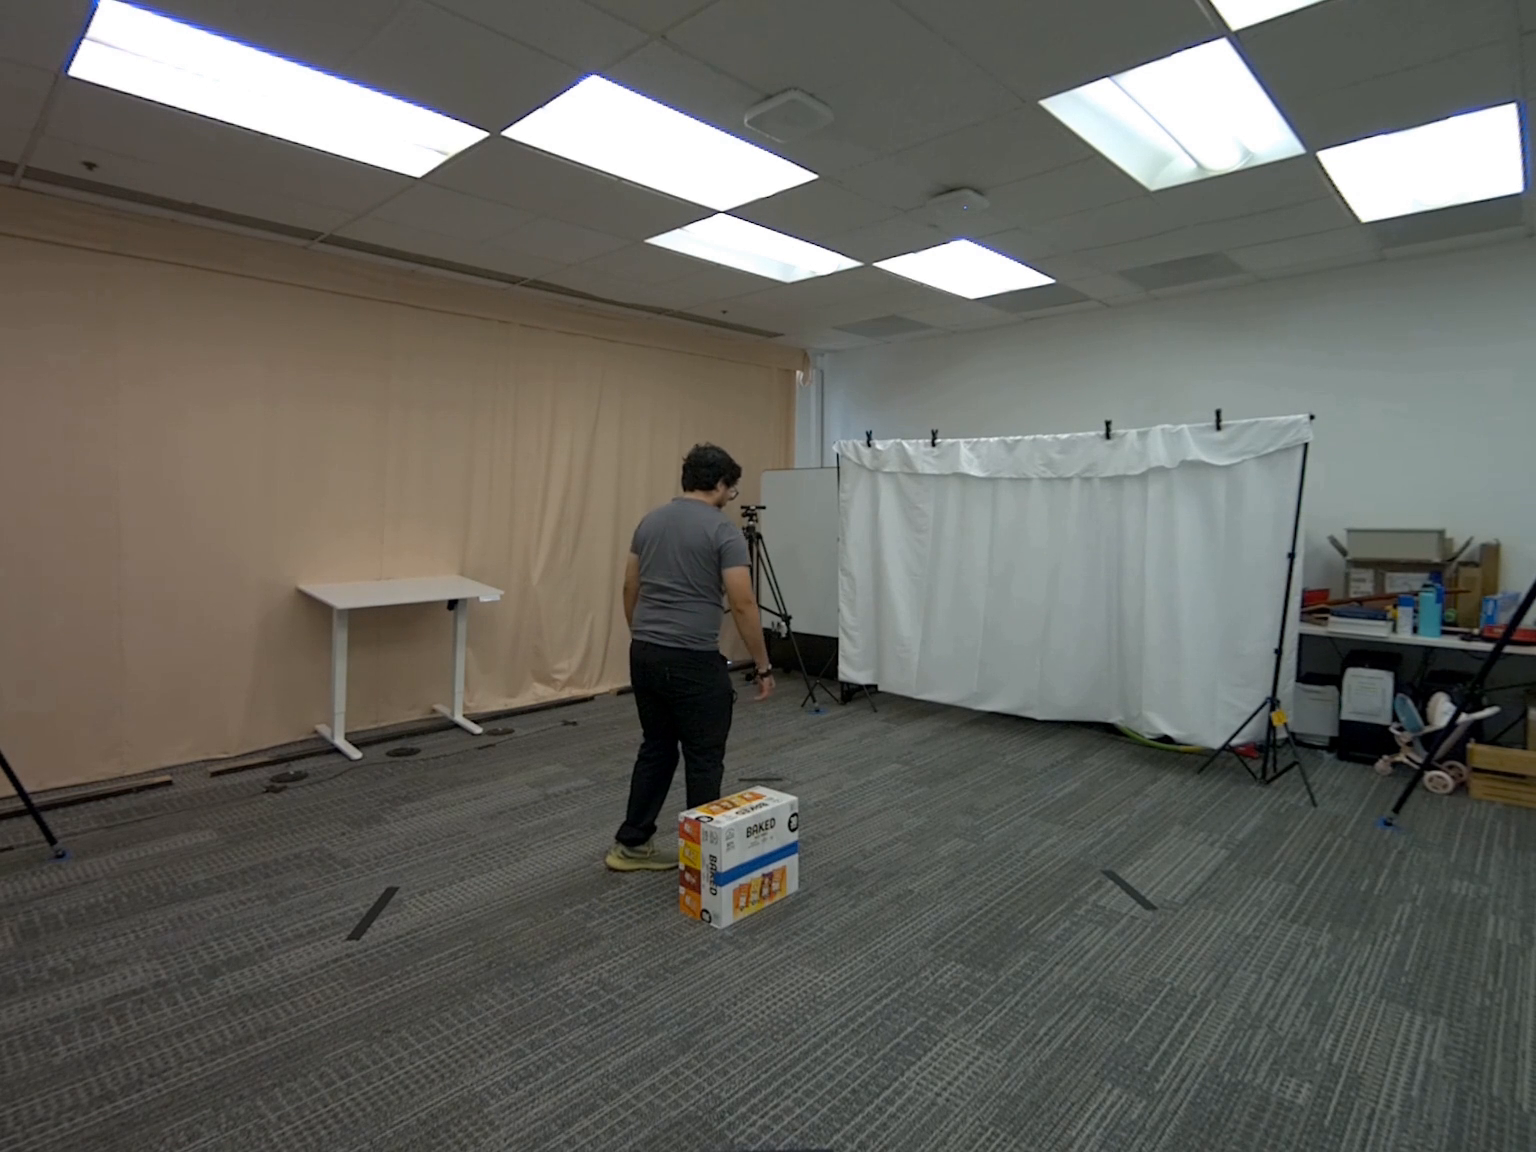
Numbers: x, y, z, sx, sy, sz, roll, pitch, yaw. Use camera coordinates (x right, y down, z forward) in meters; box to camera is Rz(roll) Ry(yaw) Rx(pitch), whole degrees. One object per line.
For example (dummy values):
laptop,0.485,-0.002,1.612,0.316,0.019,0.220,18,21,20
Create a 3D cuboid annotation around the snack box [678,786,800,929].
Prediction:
snack box,-0.093,0.976,2.966,0.212,0.340,0.393,2,4,43
